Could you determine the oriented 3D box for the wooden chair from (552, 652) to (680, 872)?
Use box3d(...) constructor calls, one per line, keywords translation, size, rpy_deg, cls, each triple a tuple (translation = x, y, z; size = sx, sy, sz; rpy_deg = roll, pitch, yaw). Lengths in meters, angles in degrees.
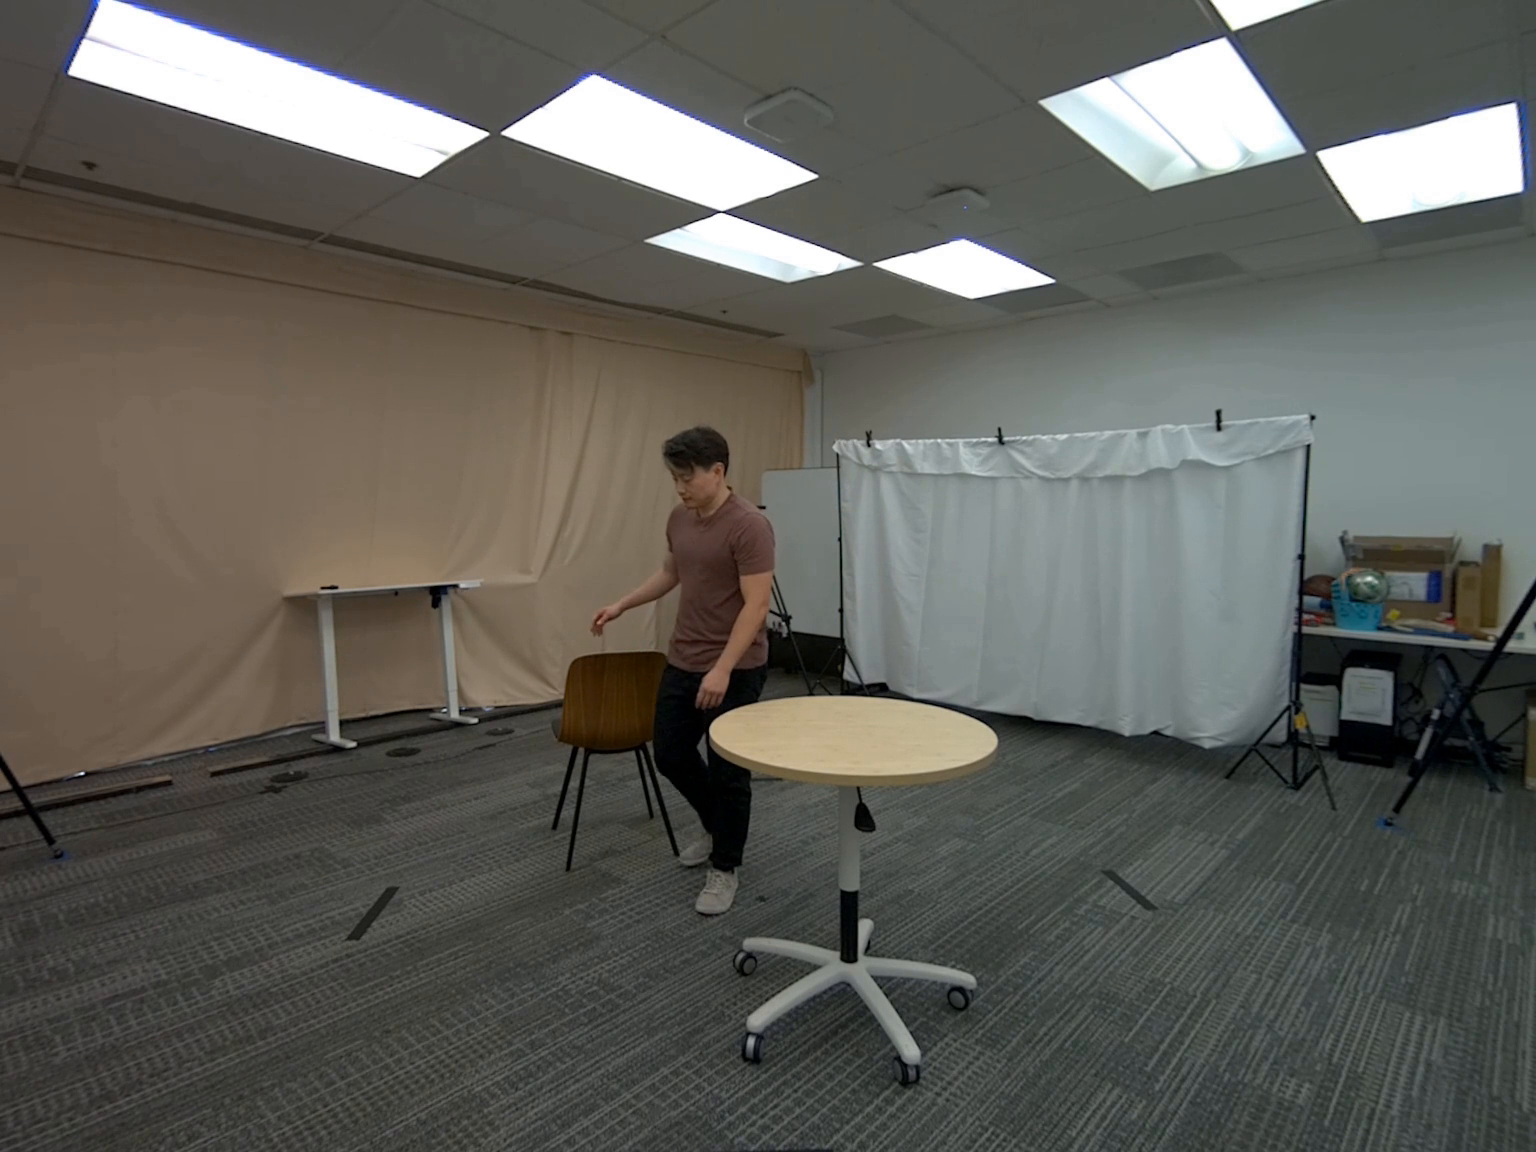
box3d(translation=(-0.649, 0.681, 3.480), size=(0.469, 0.874, 0.535), rpy_deg=(-1, 7, -20), cls="wooden chair")
